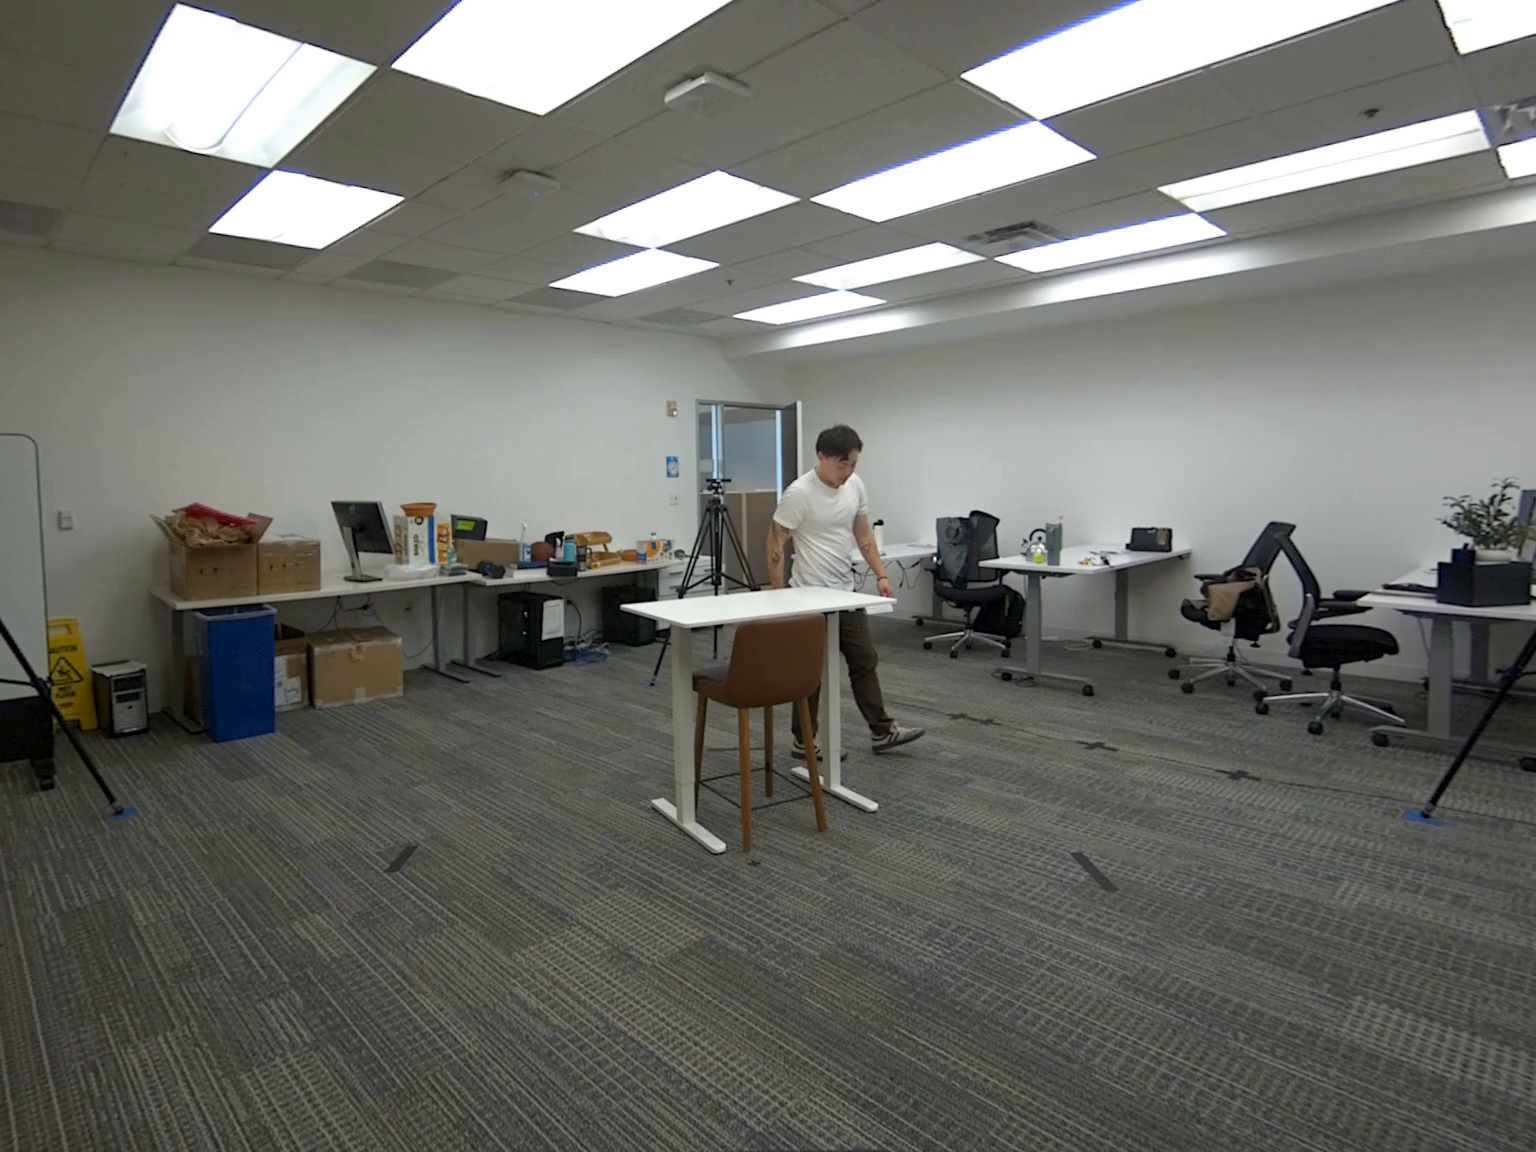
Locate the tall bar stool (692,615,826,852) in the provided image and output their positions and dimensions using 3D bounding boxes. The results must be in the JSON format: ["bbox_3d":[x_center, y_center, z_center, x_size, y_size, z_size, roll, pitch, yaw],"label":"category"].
[{"bbox_3d":[-0.045,0.574,3.451,0.446,0.885,0.481,-3,6,-30],"label":"tall bar stool"}]
